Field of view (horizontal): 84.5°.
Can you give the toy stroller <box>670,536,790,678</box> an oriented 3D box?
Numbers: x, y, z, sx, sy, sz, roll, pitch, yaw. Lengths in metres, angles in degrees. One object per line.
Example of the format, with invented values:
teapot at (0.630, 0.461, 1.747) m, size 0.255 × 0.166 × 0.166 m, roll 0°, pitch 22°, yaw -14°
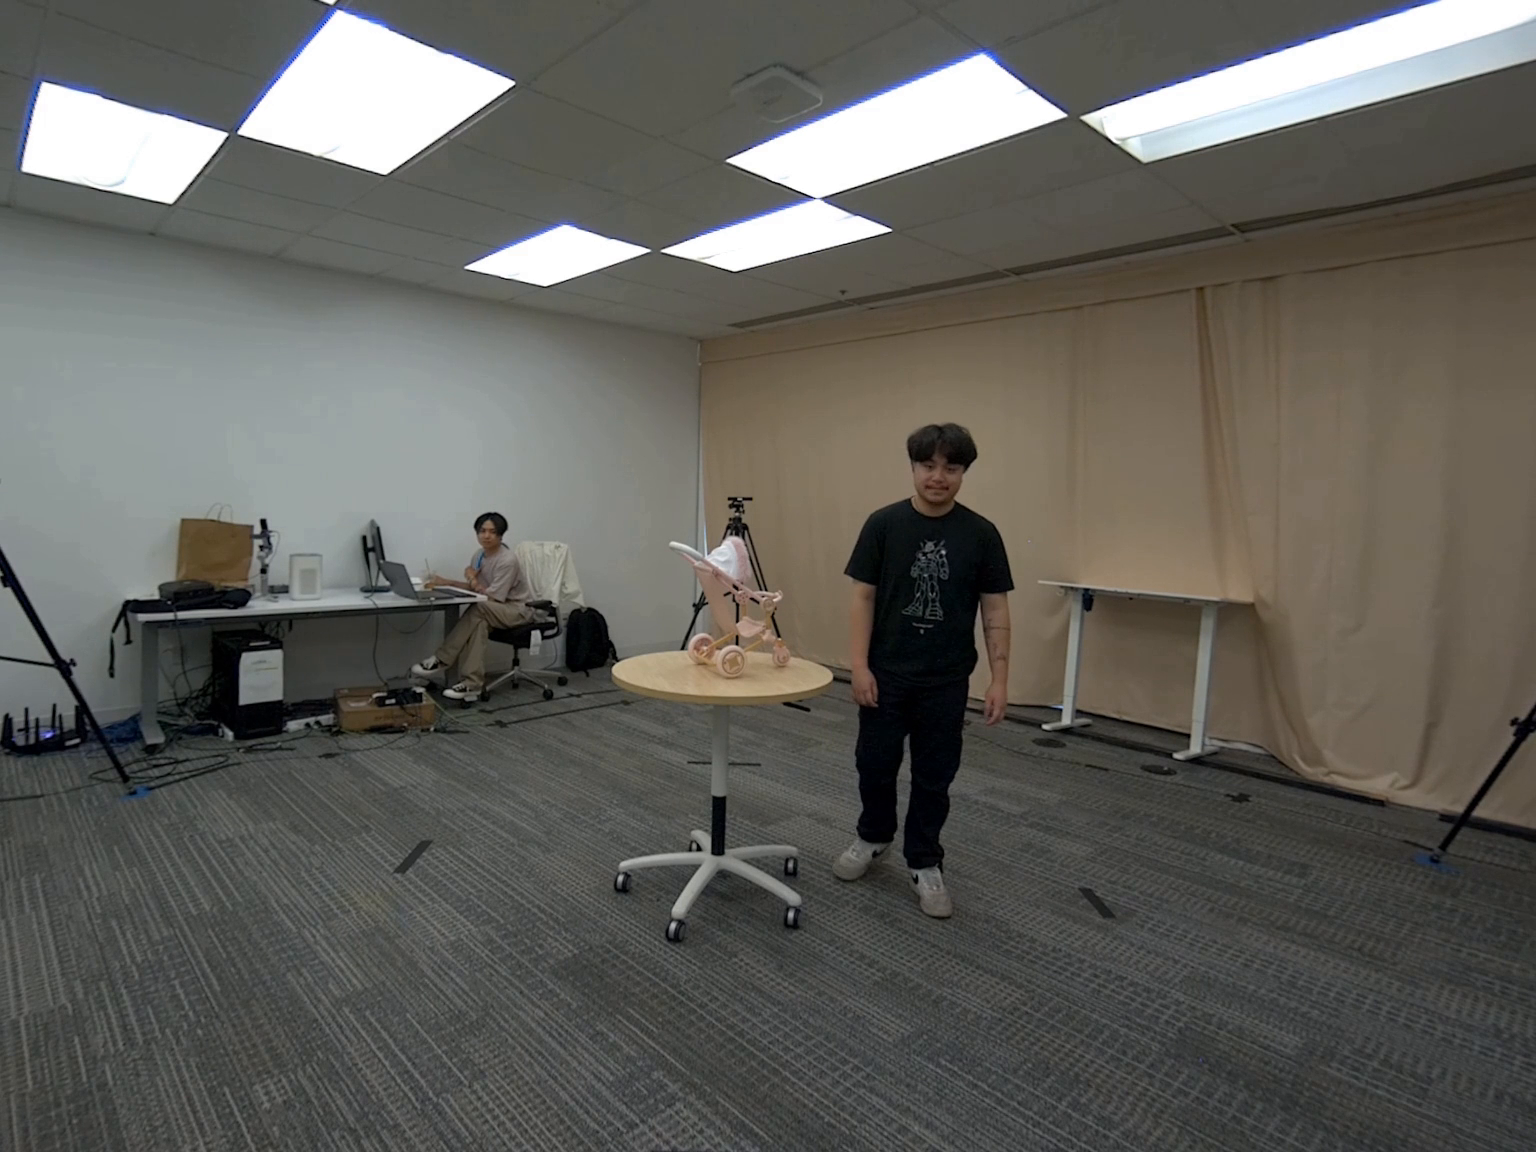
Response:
toy stroller at (-0.118, 0.101, 2.937) m, size 0.338 × 0.531 × 0.286 m, roll -15°, pitch 9°, yaw -19°
